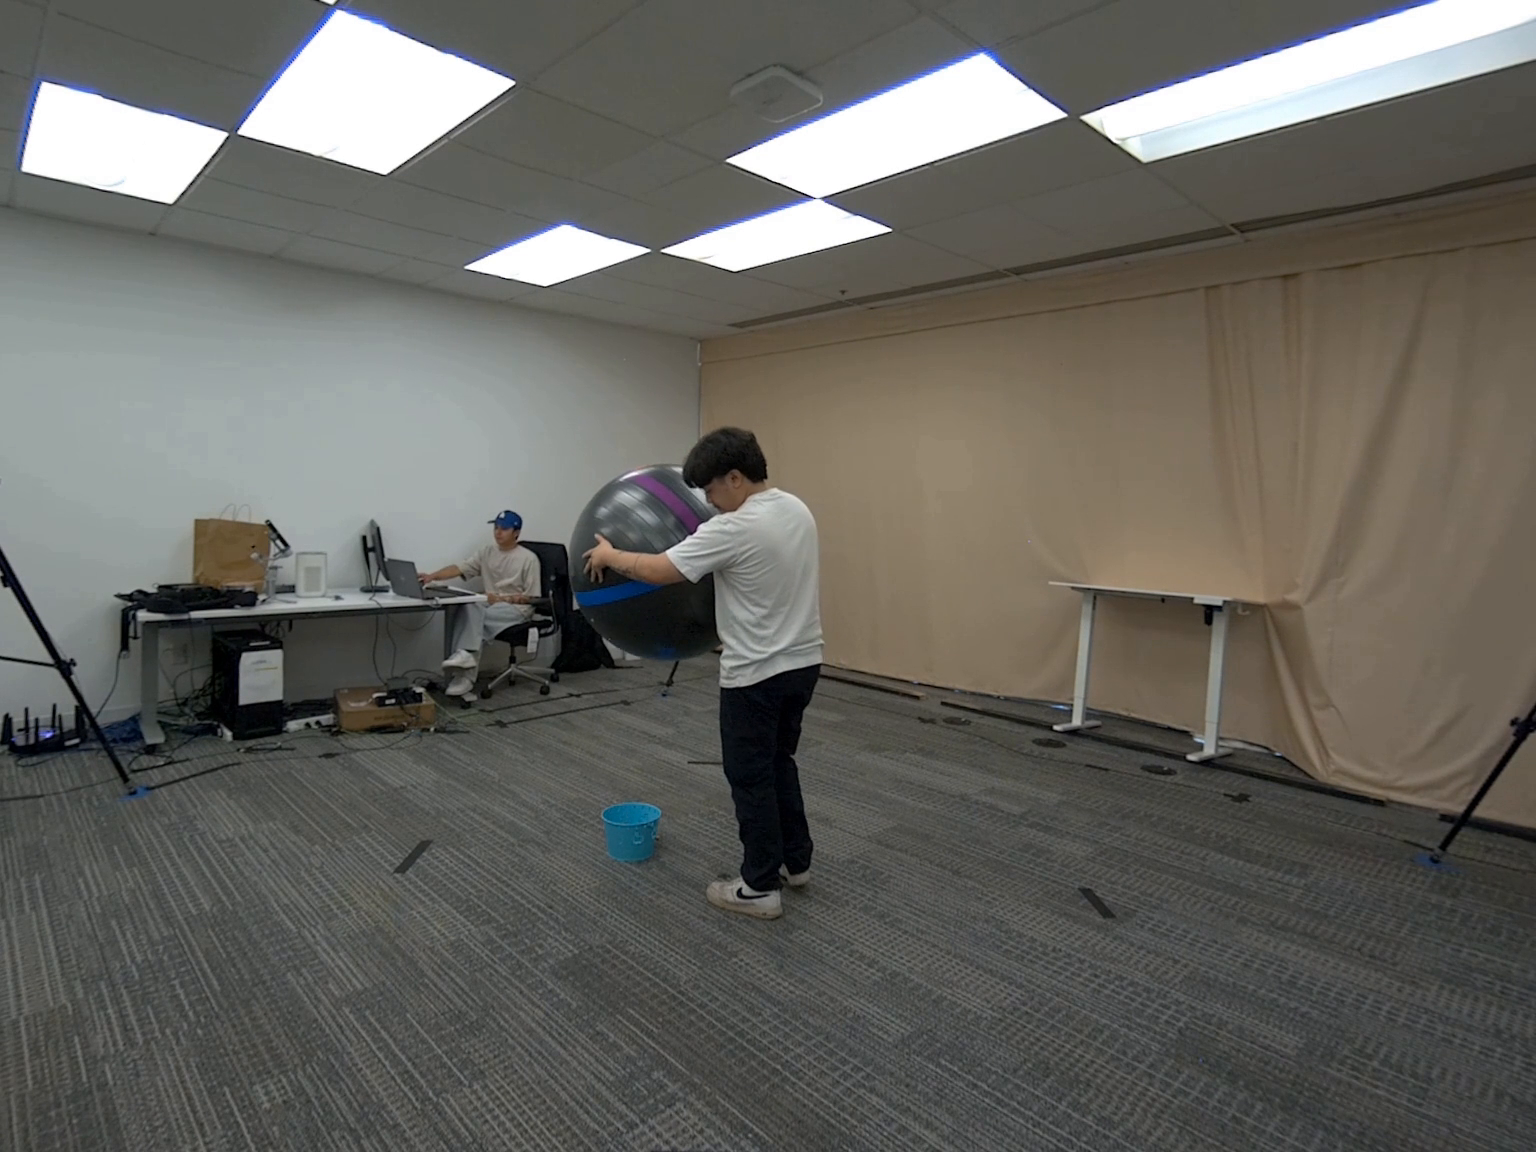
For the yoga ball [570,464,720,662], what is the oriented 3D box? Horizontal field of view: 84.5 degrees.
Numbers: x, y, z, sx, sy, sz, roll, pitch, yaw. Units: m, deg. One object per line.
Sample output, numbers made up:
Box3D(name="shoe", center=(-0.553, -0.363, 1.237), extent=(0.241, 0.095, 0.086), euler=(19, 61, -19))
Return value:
Box3D(name="yoga ball", center=(-0.395, -0.052, 3.284), extent=(0.757, 0.756, 0.760), euler=(1, 4, -1))
